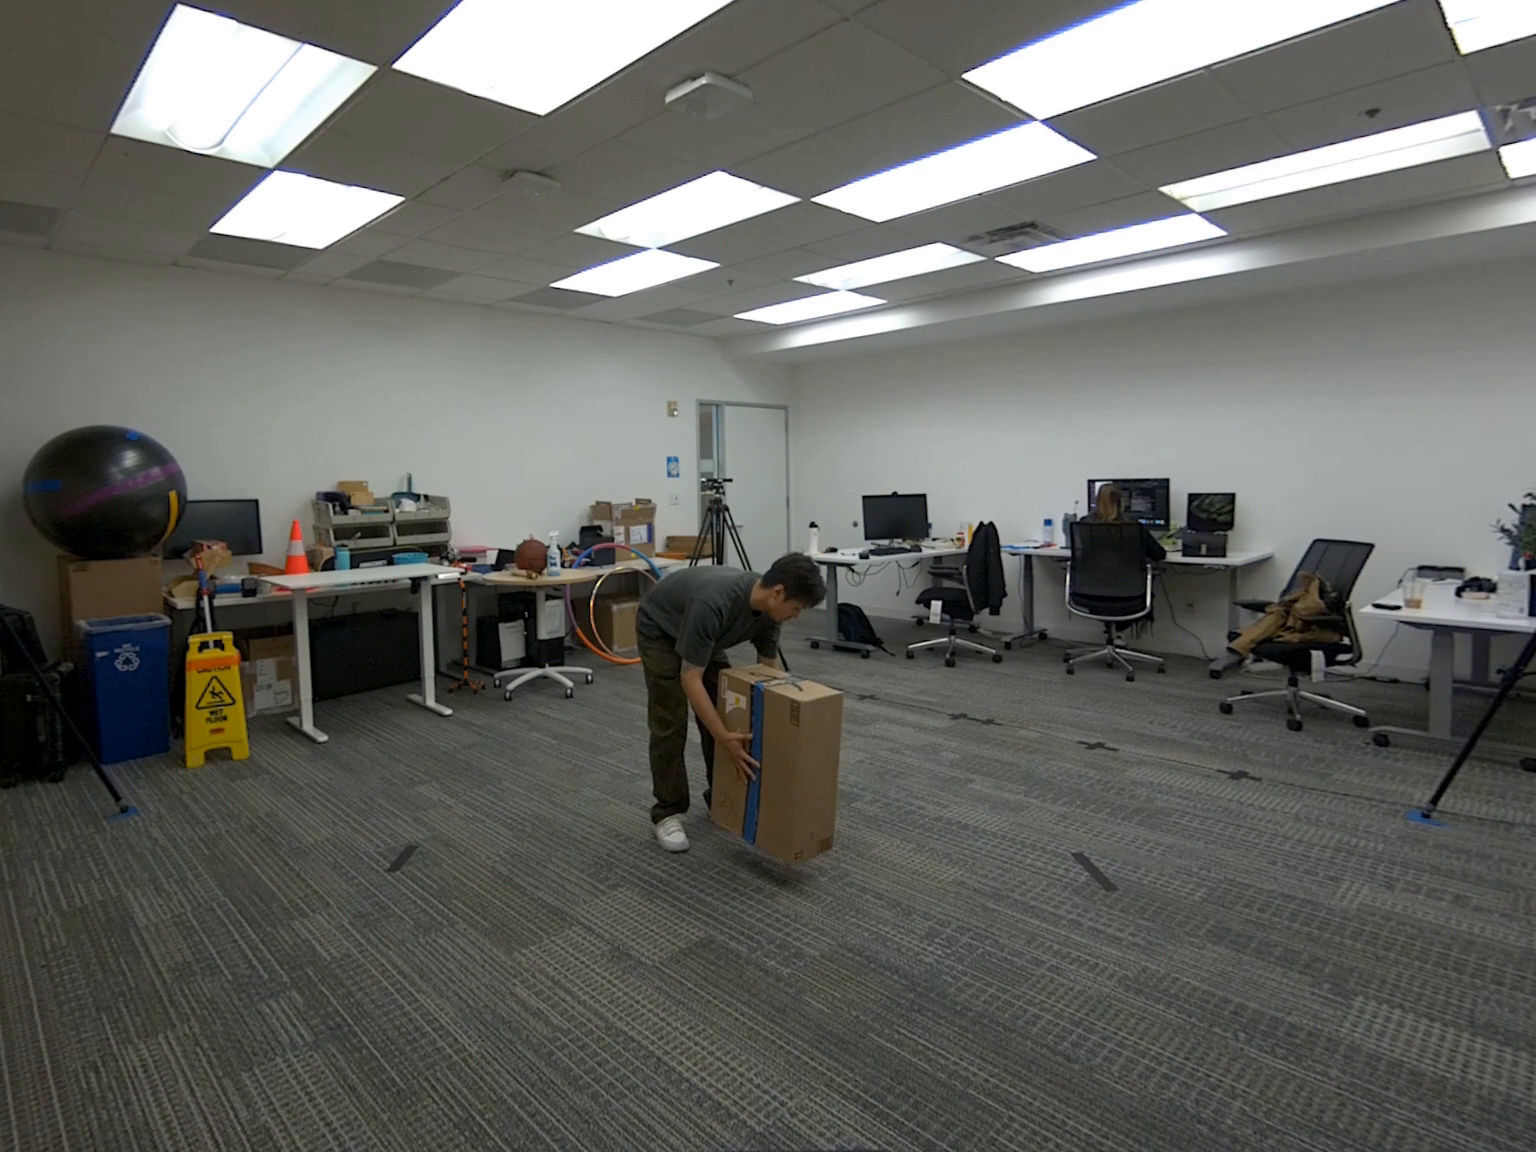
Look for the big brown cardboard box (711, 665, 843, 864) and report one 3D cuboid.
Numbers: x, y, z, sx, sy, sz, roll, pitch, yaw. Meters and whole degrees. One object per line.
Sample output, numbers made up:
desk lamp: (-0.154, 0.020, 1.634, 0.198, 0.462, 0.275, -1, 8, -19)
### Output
big brown cardboard box: (0.029, 0.649, 3.033, 0.227, 0.585, 0.431, -4, 9, -42)
